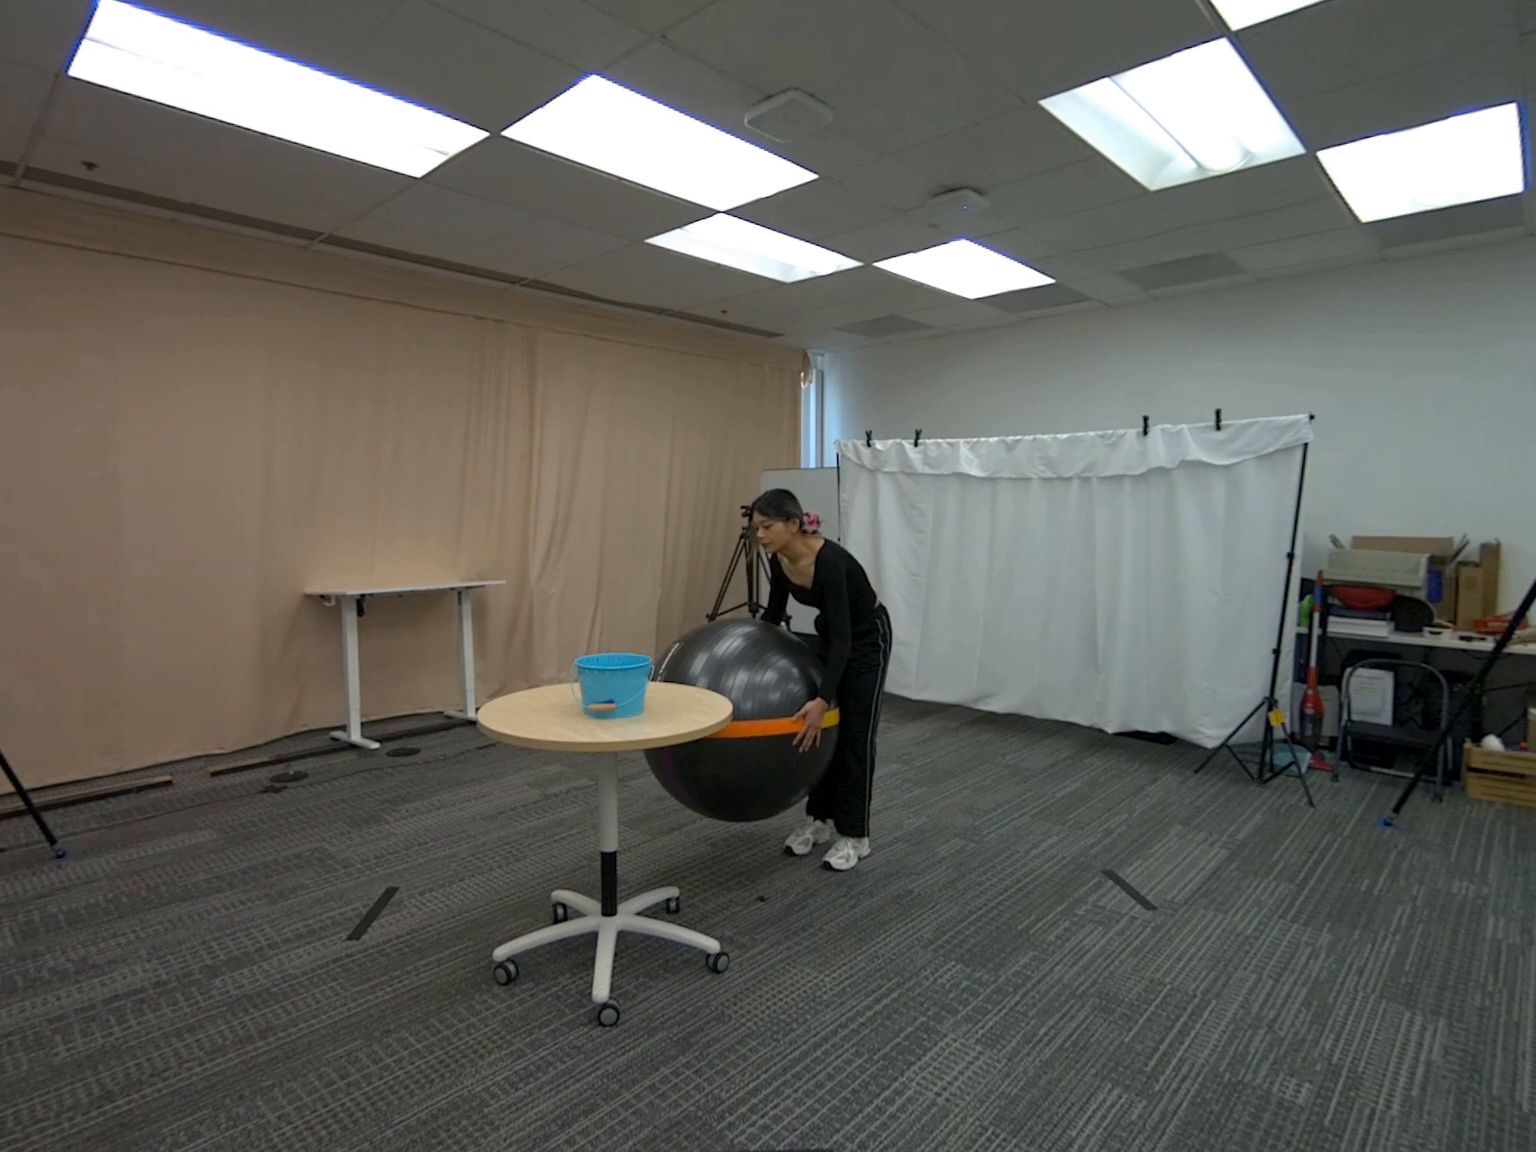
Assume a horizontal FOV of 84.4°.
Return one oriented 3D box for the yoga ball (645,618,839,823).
[{"bbox_3d":[-0.124,0.542,3.199,0.757,0.756,0.760,0,4,-2],"label":"yoga ball"}]
